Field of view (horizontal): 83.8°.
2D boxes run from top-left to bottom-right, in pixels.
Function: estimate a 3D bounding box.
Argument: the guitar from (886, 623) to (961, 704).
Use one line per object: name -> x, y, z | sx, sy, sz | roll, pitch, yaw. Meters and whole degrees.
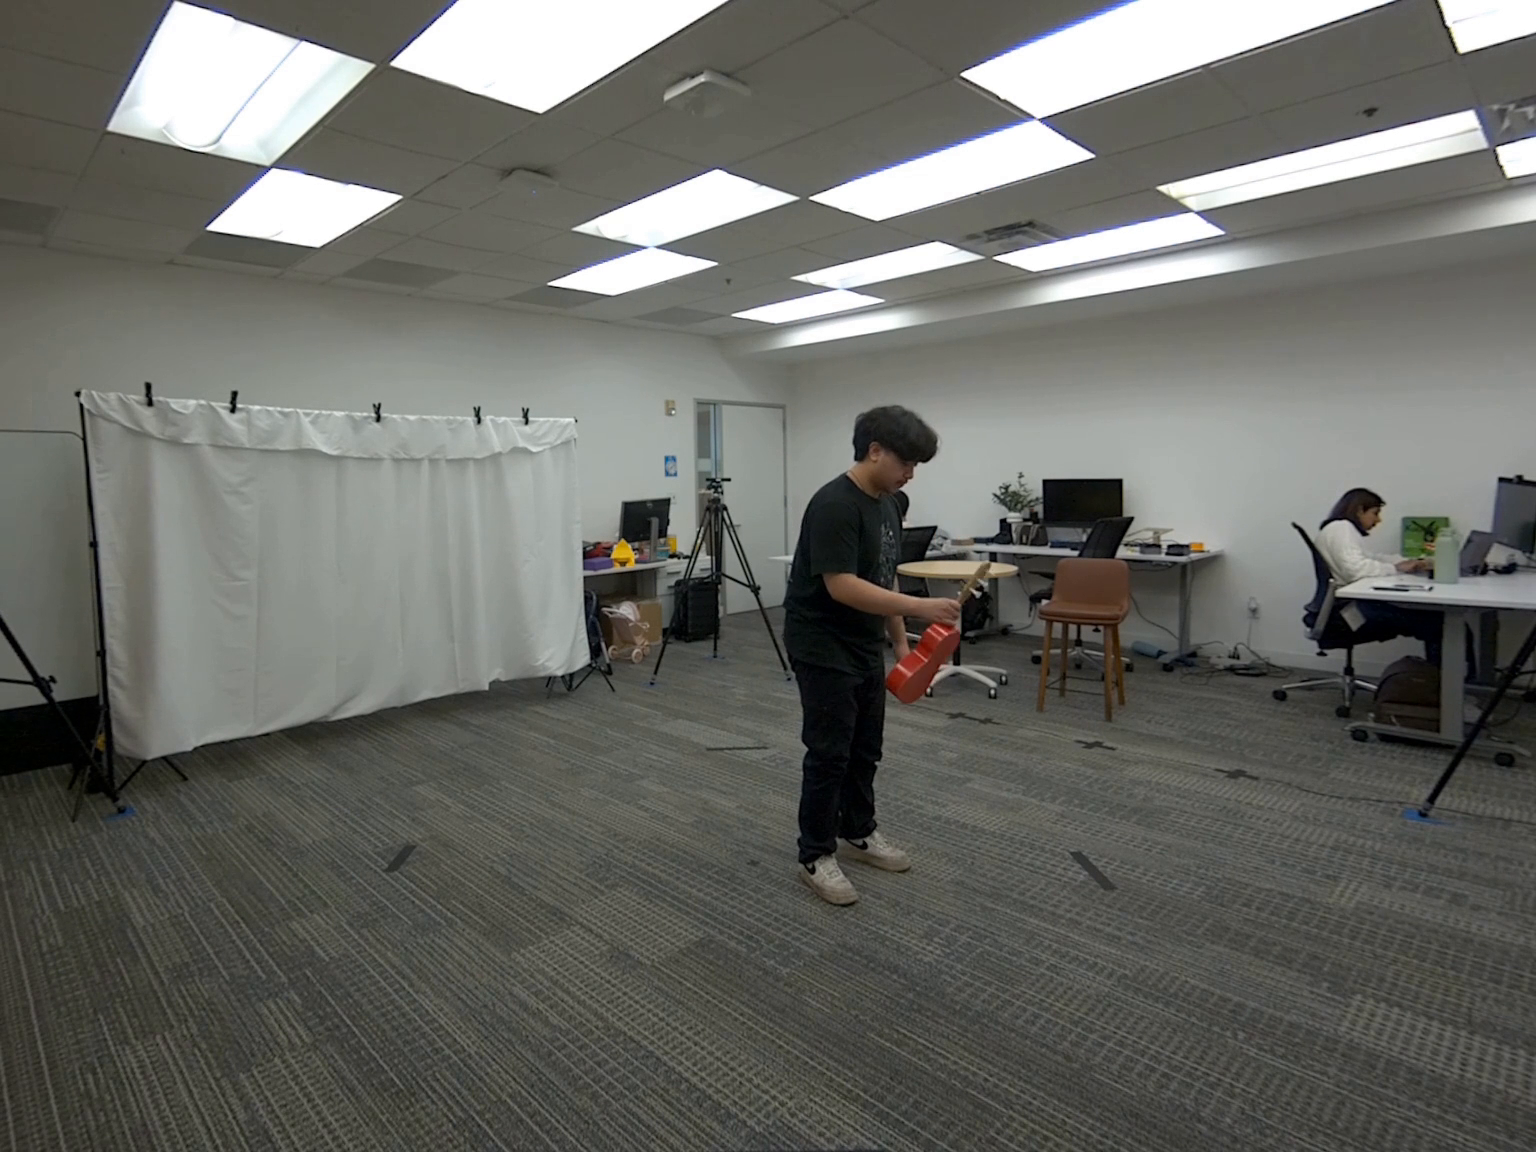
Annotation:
guitar -> 0.518, 0.172, 2.592 | 0.073, 0.496, 0.187 | 40, 16, 33
